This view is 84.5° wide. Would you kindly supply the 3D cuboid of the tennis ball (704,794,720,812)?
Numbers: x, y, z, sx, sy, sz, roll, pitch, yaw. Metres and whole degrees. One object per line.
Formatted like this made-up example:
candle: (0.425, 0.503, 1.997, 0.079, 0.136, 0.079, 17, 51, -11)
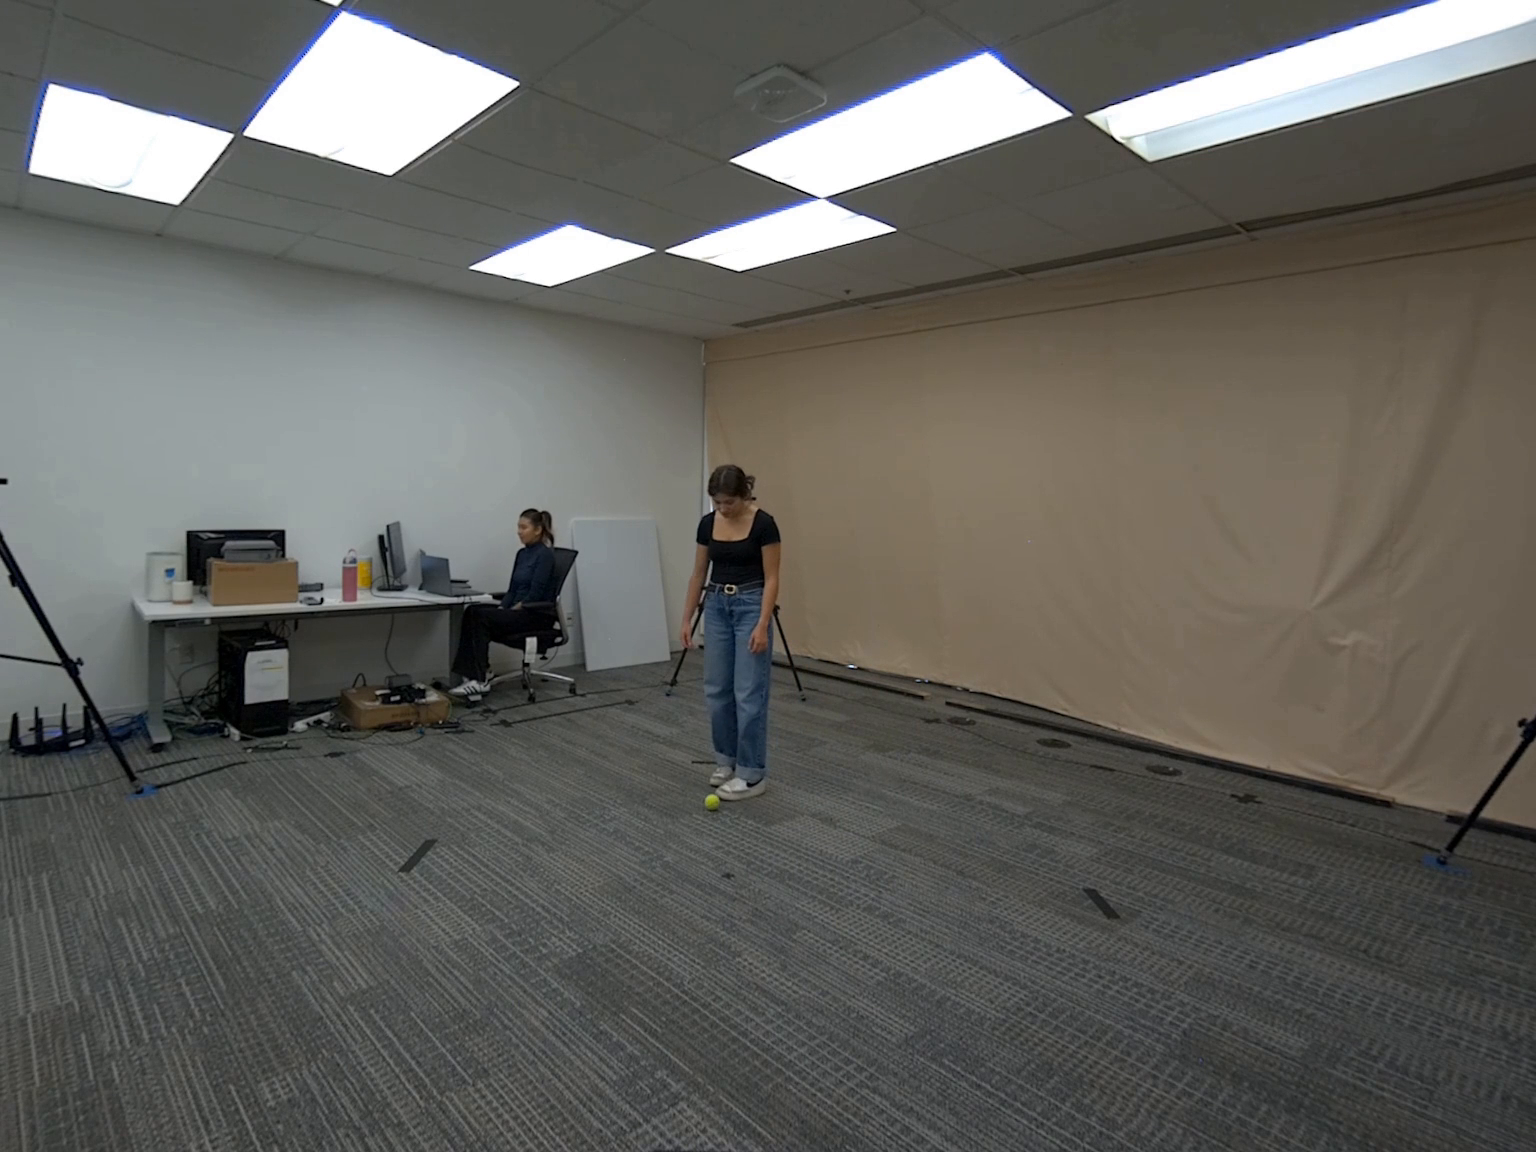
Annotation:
tennis ball: (-0.262, 0.994, 3.760, 0.066, 0.066, 0.067, 1, 4, -1)
